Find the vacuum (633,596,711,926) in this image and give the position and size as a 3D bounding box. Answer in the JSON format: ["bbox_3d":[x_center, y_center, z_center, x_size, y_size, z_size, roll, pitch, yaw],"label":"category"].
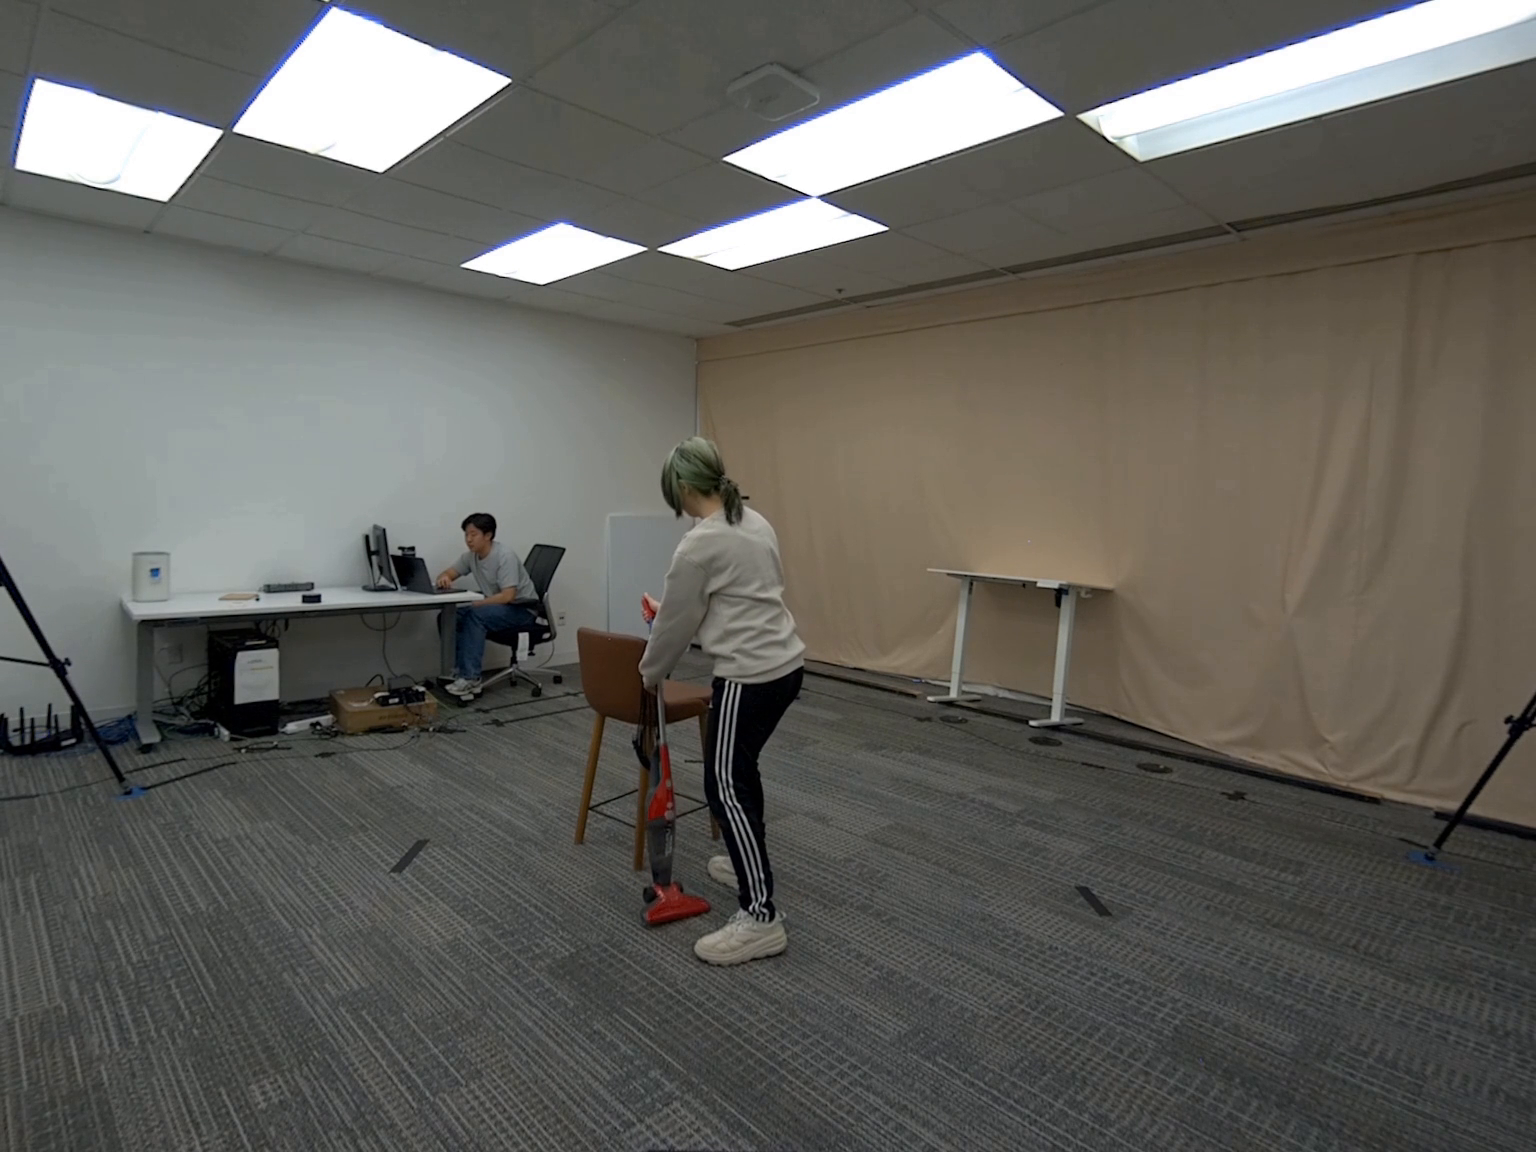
[{"bbox_3d":[-0.400,0.600,2.948,0.146,1.062,0.246,-20,-19,39],"label":"vacuum"}]
